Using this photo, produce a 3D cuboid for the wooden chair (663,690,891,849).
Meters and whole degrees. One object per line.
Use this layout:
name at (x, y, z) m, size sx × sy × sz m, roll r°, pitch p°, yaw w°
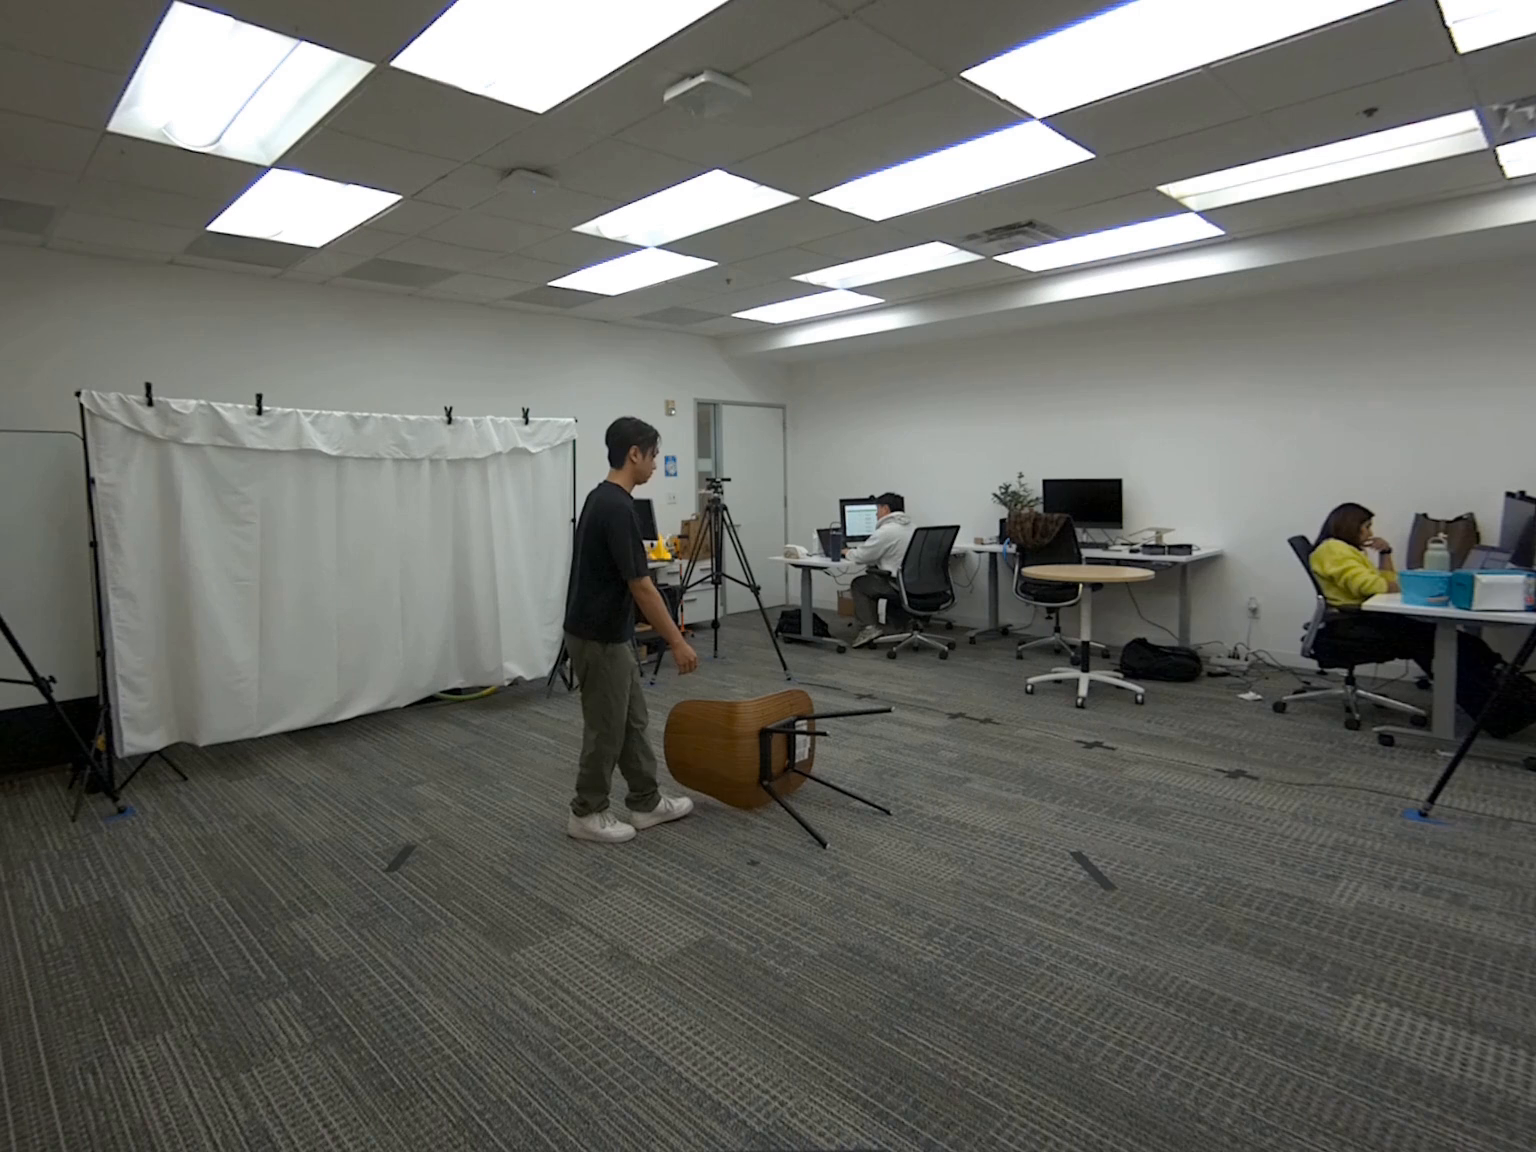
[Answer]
wooden chair at (0.048, 0.749, 3.645) m, size 0.904 × 0.476 × 0.510 m, roll 4°, pitch 8°, yaw 37°
